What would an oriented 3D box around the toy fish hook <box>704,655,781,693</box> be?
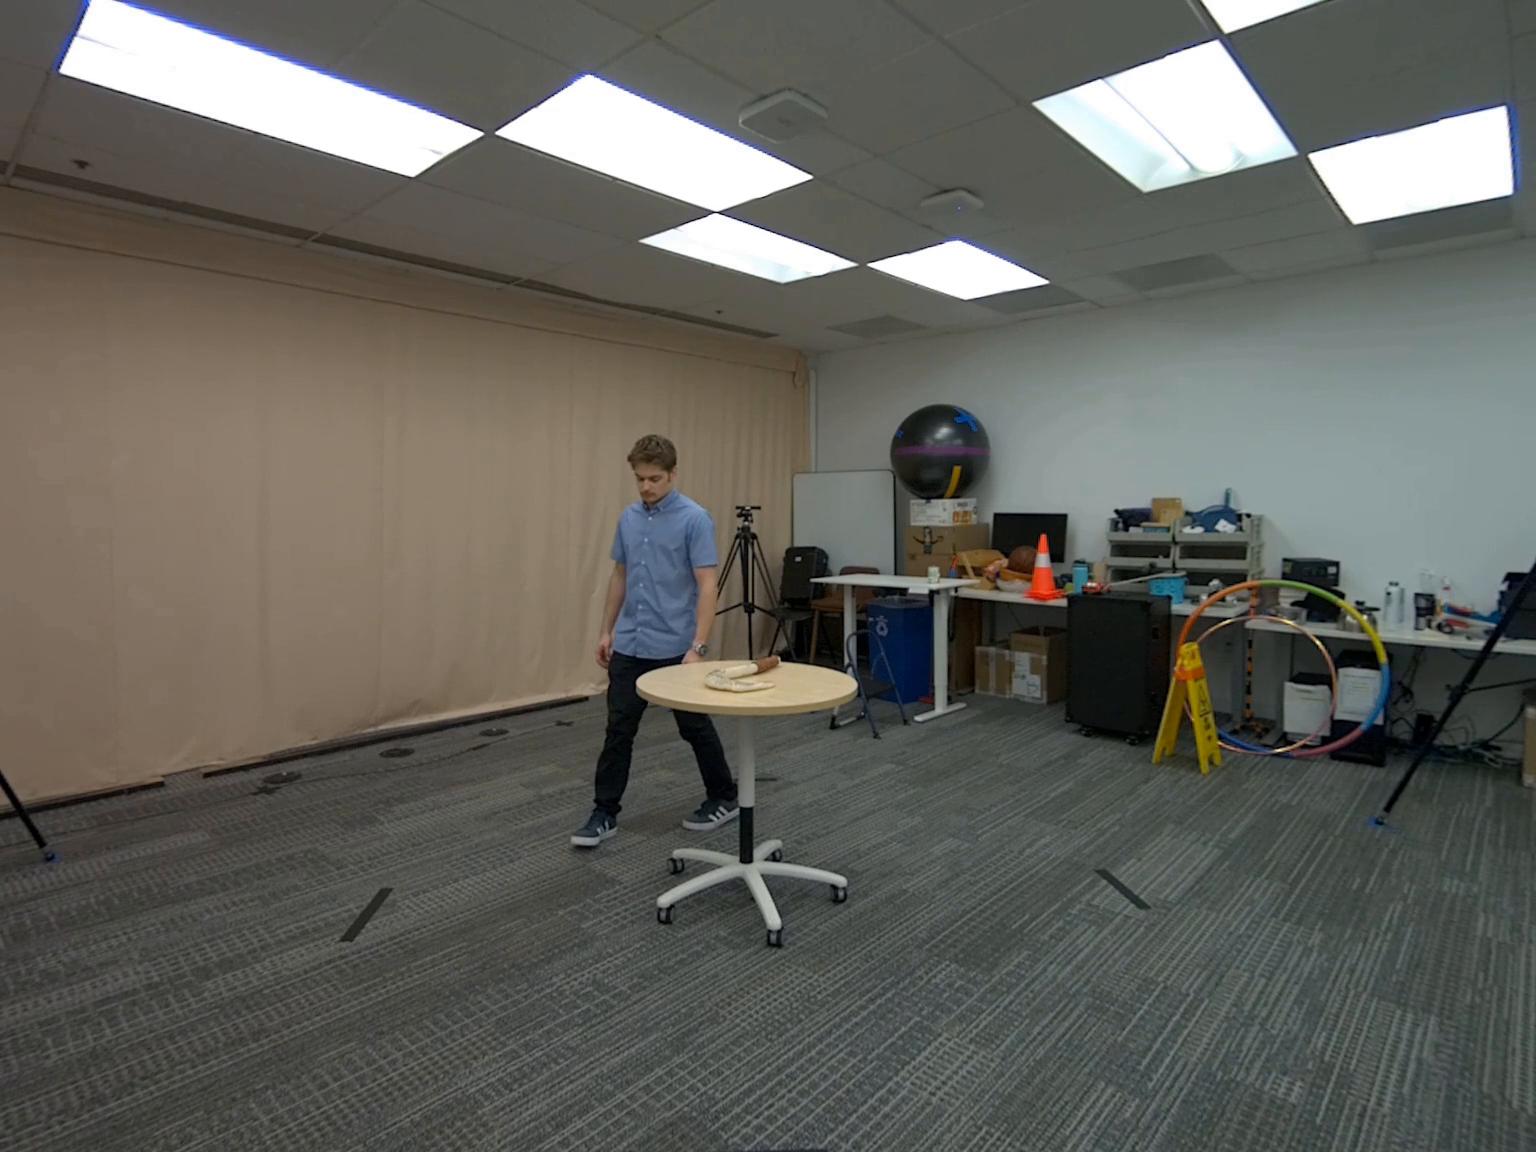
[{"bbox_3d":[-0.031,0.350,2.974,0.231,0.048,0.494,11,10,28],"label":"toy fish hook"}]
